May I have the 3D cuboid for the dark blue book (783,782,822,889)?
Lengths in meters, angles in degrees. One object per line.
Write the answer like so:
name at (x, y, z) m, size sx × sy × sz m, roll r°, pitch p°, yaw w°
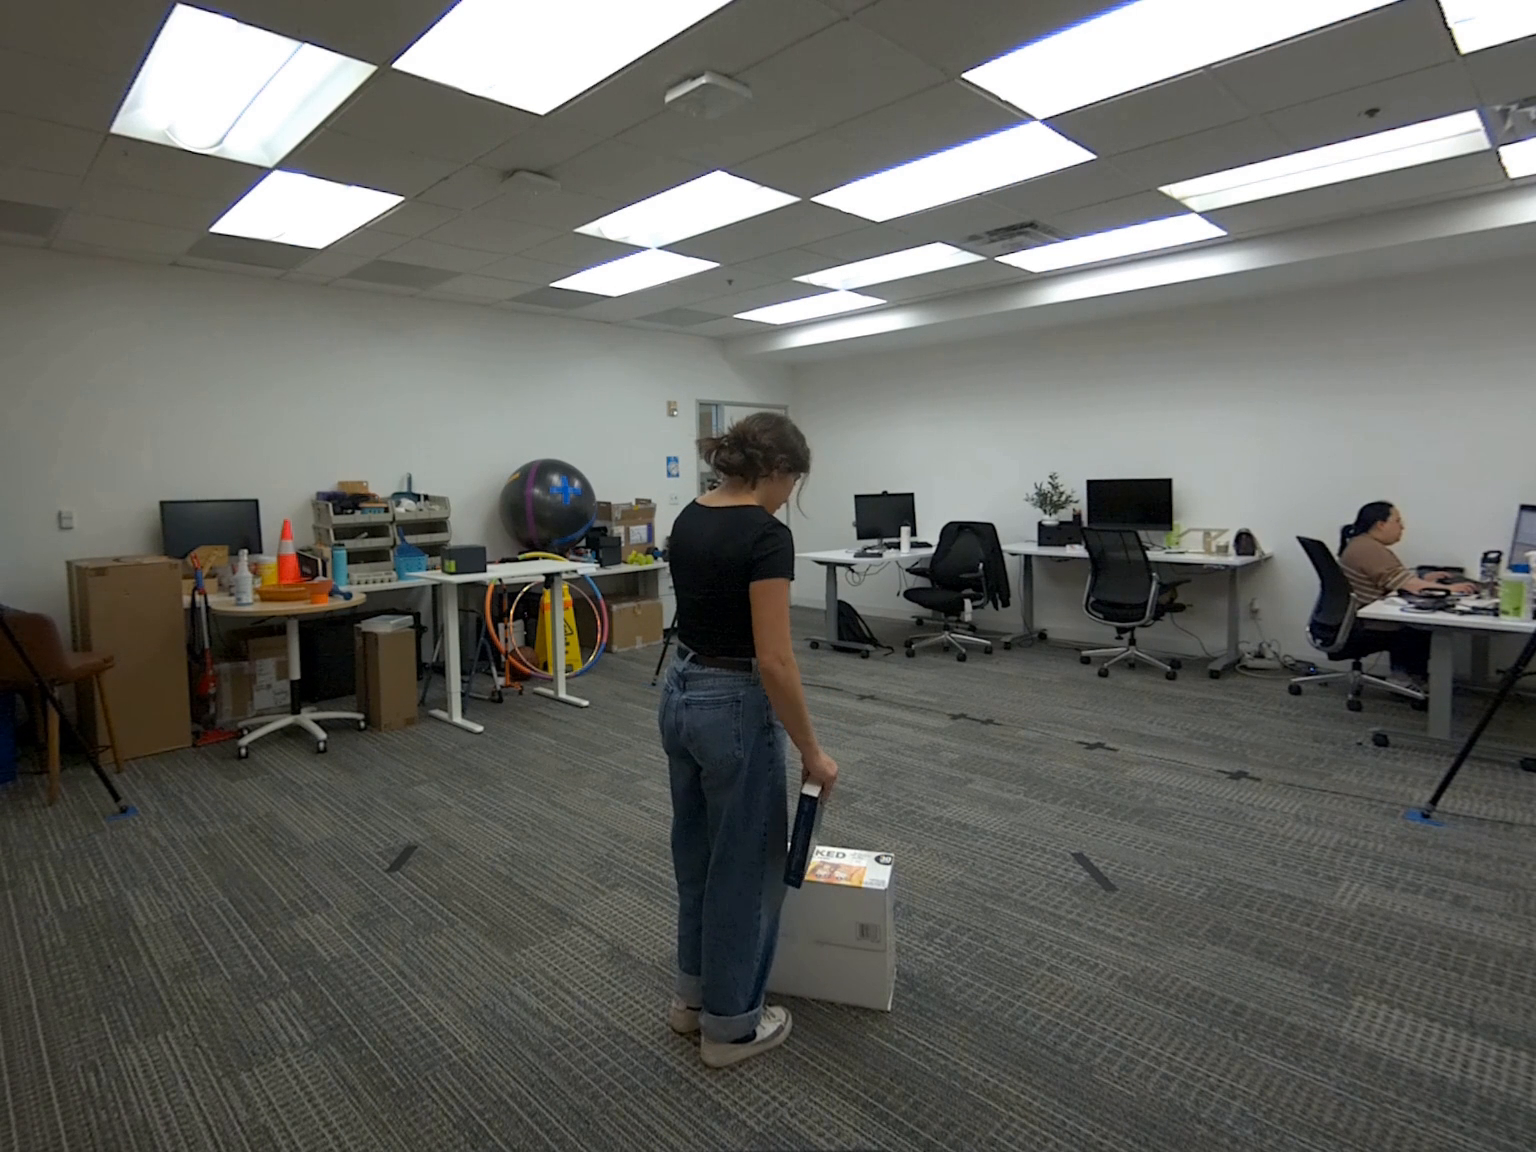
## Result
dark blue book at (0.096, 0.559, 1.956) m, size 0.046 × 0.242 × 0.163 m, roll 11°, pitch 18°, yaw 9°
